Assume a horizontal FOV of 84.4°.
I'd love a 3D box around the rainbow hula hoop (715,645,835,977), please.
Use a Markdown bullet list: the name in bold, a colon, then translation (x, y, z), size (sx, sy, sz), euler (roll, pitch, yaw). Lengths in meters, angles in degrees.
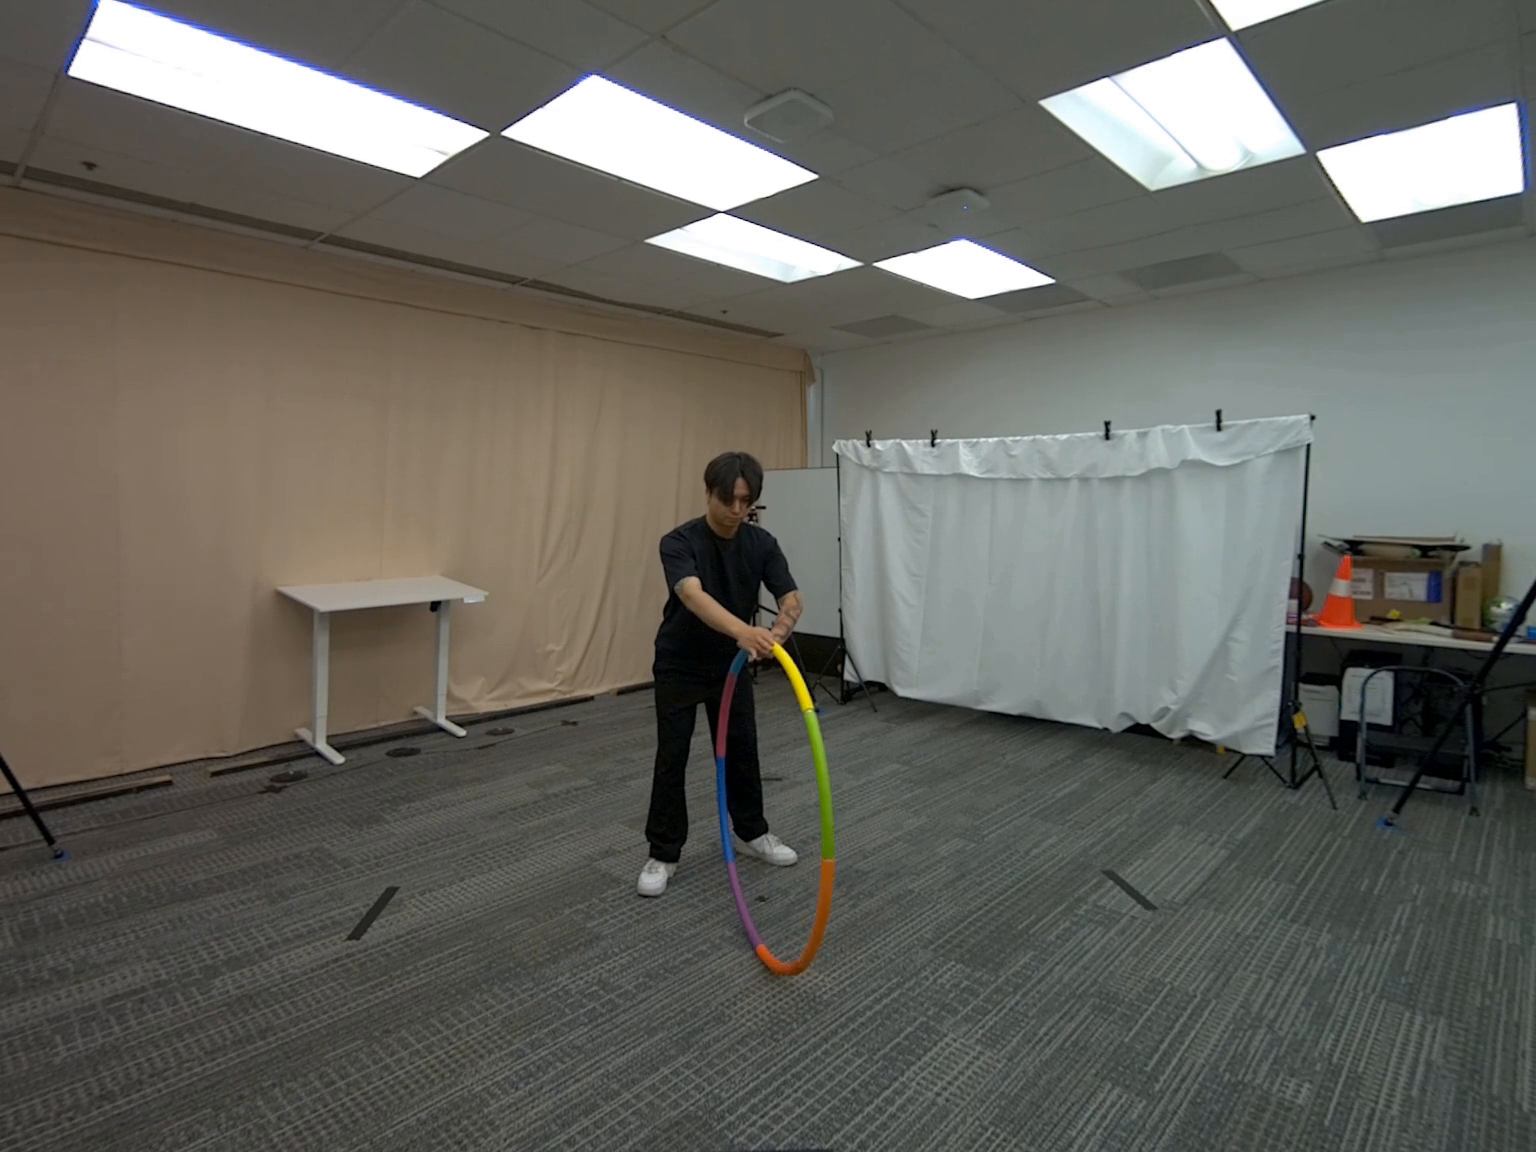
- **rainbow hula hoop**: translation (0.007, 0.684, 2.591), size (0.035, 0.977, 0.997), euler (1, 3, -18)
